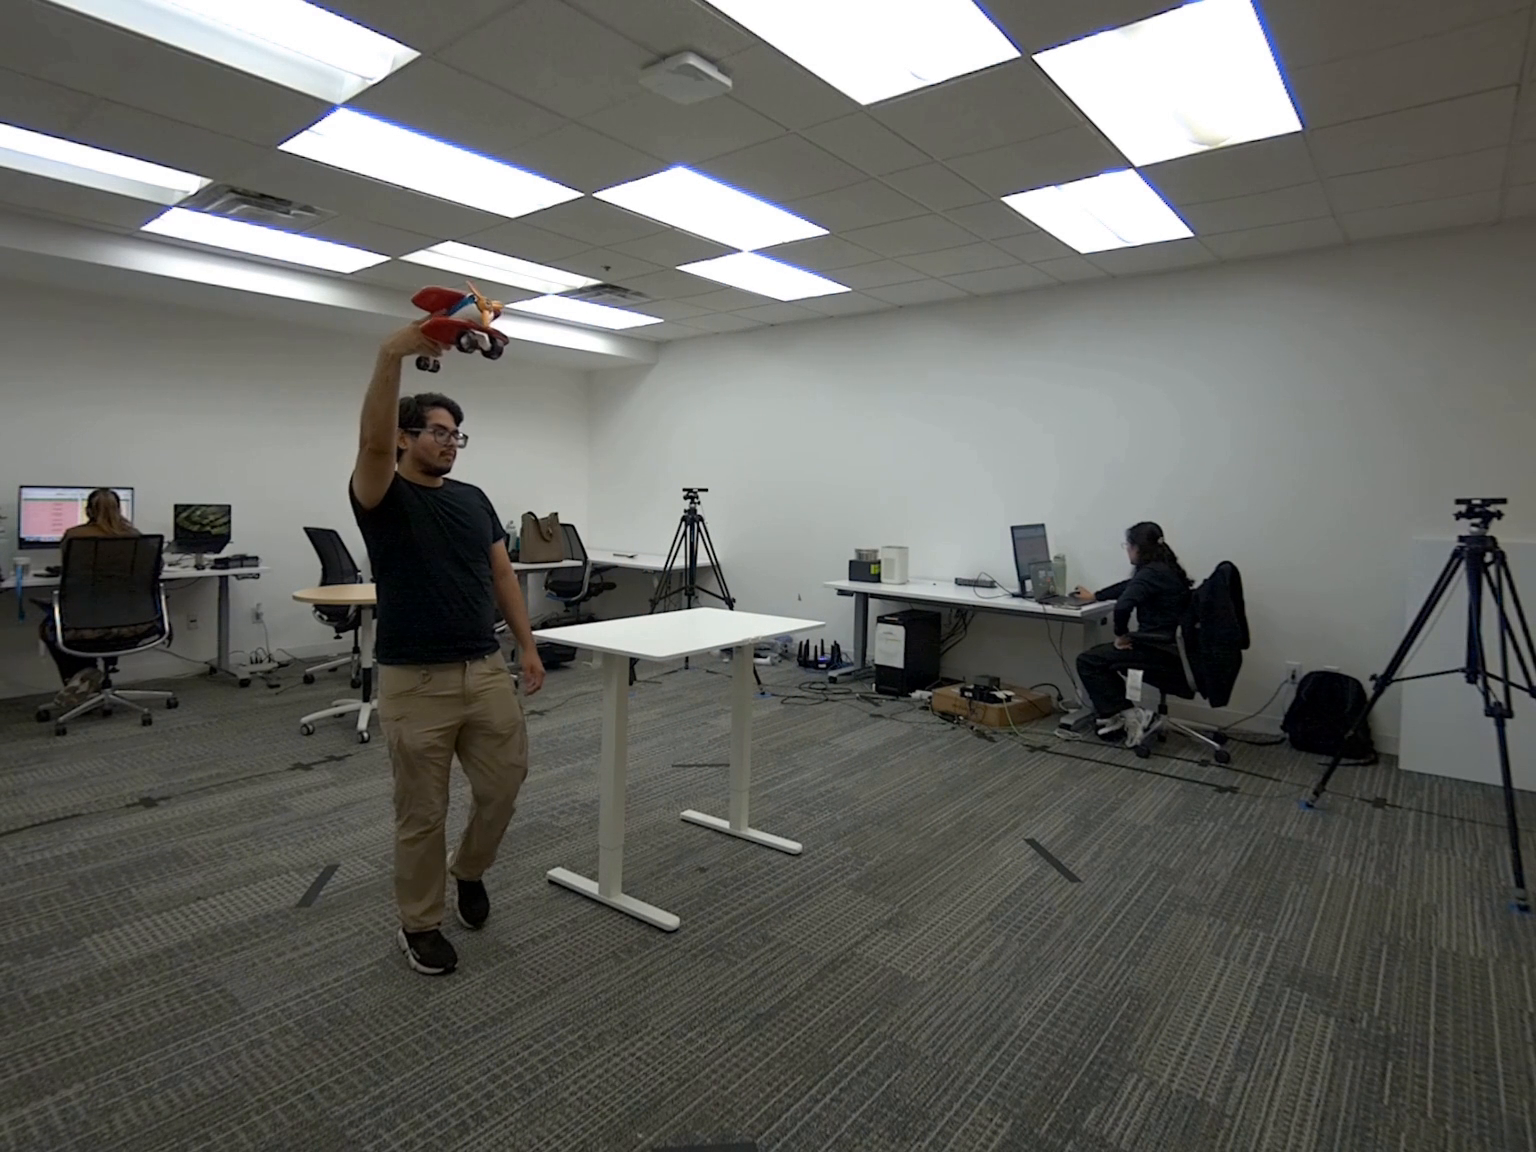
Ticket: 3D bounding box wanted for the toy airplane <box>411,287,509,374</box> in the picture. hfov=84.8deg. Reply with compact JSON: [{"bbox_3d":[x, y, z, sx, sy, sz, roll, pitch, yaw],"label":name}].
[{"bbox_3d":[-0.788,-0.595,2.061,0.259,0.157,0.251,-5,-1,-1],"label":"toy airplane"}]
